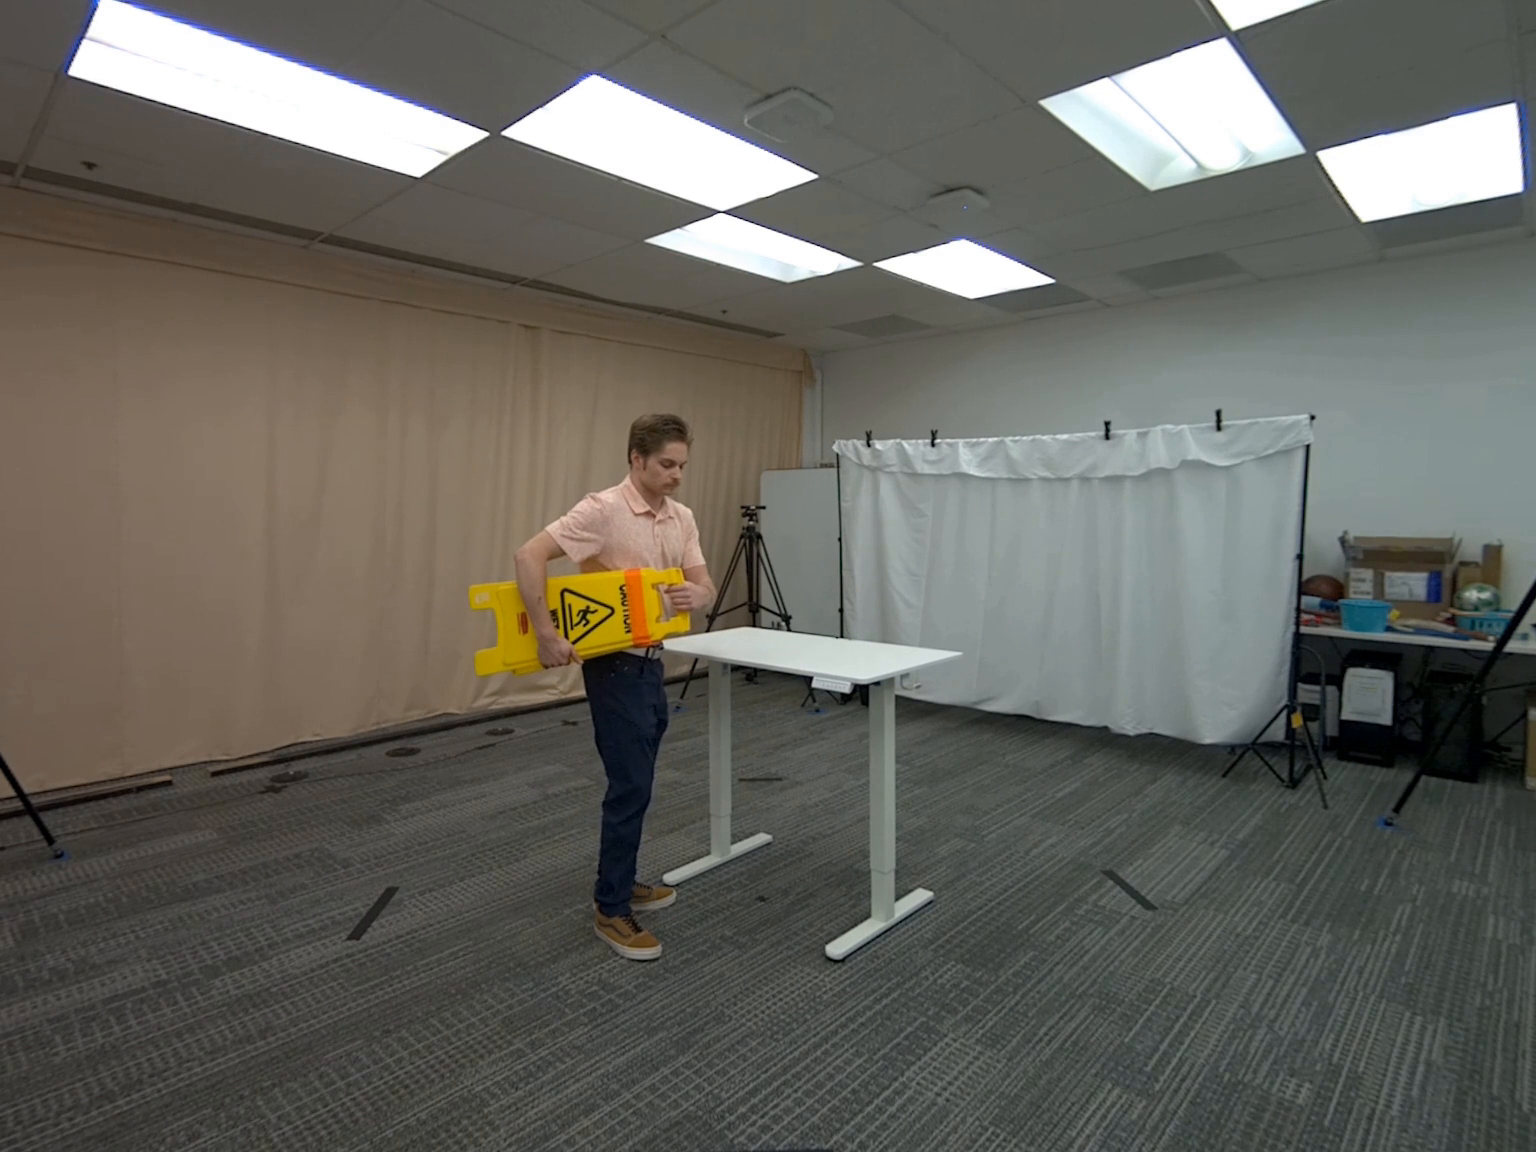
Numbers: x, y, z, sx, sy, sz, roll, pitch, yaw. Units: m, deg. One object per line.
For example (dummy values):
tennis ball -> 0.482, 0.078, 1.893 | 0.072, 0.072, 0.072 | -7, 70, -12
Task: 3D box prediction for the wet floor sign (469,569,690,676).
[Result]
wet floor sign -> -0.572, 0.134, 2.602 | 0.652, 0.284, 0.285 | -10, -8, 10
